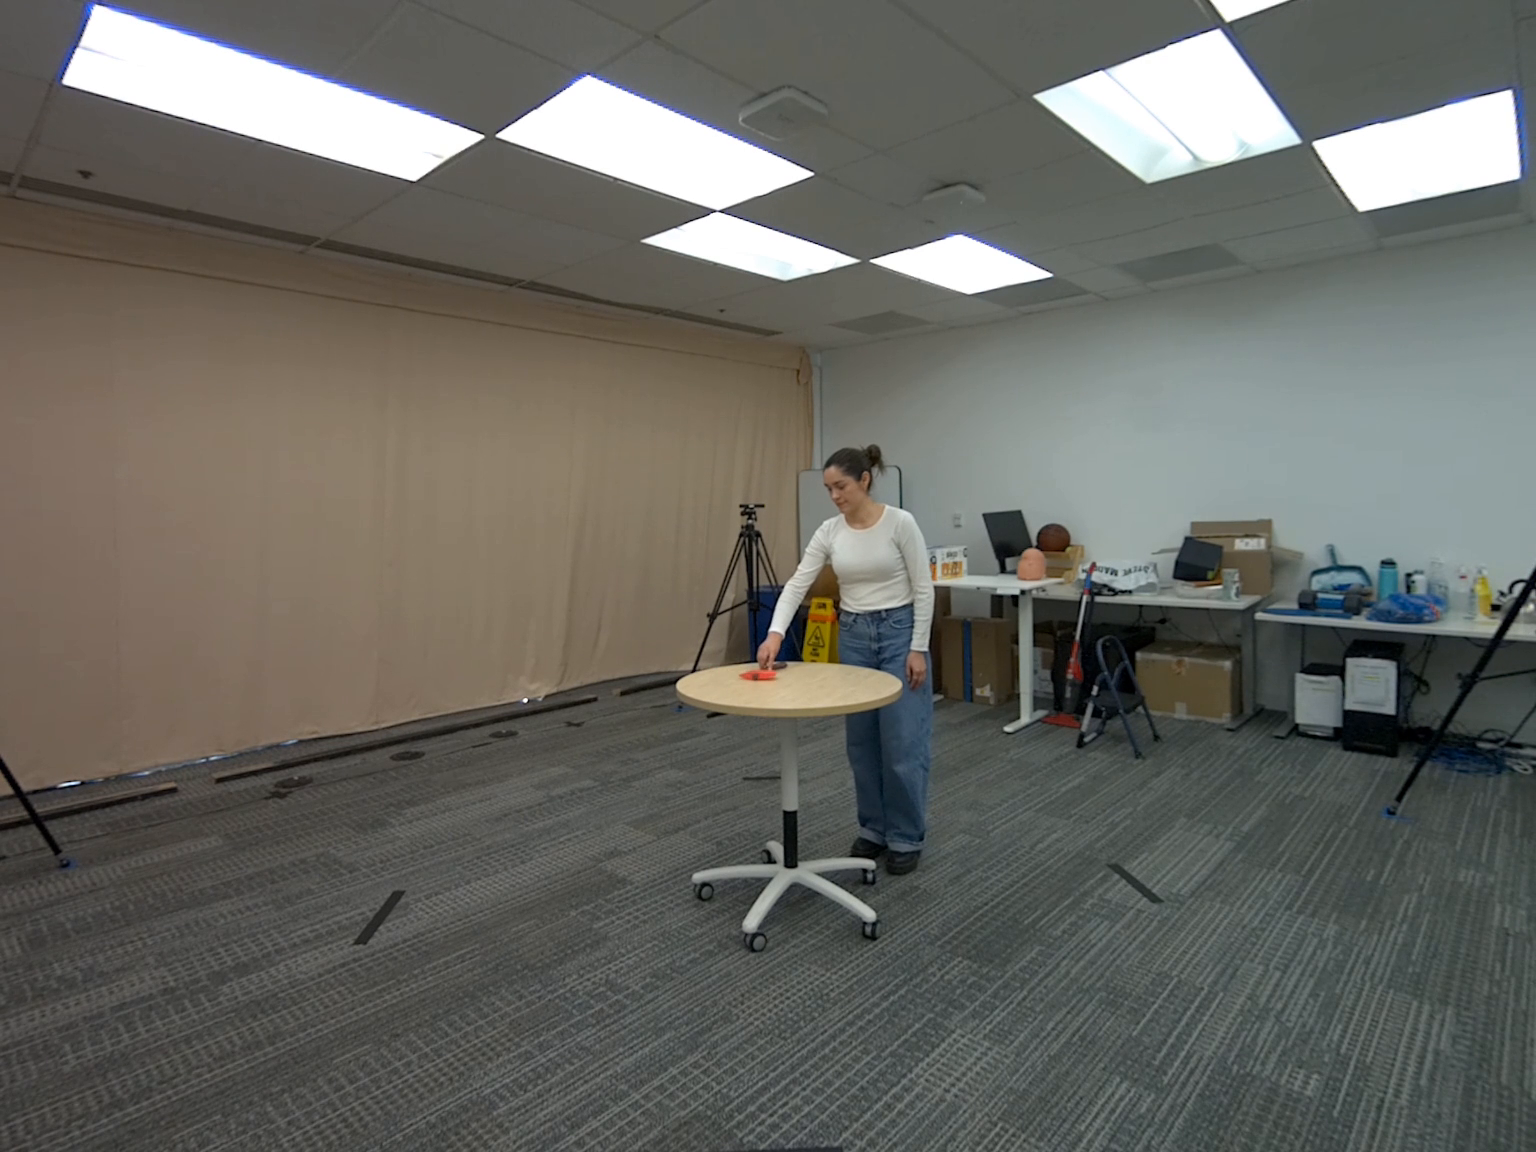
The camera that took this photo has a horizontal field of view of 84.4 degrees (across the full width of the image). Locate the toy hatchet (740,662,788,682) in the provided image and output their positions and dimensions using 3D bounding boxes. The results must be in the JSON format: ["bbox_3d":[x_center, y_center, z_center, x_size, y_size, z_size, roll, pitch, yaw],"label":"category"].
[{"bbox_3d":[0.012,0.344,3.015,0.135,0.029,0.262,-5,0,36],"label":"toy hatchet"}]
